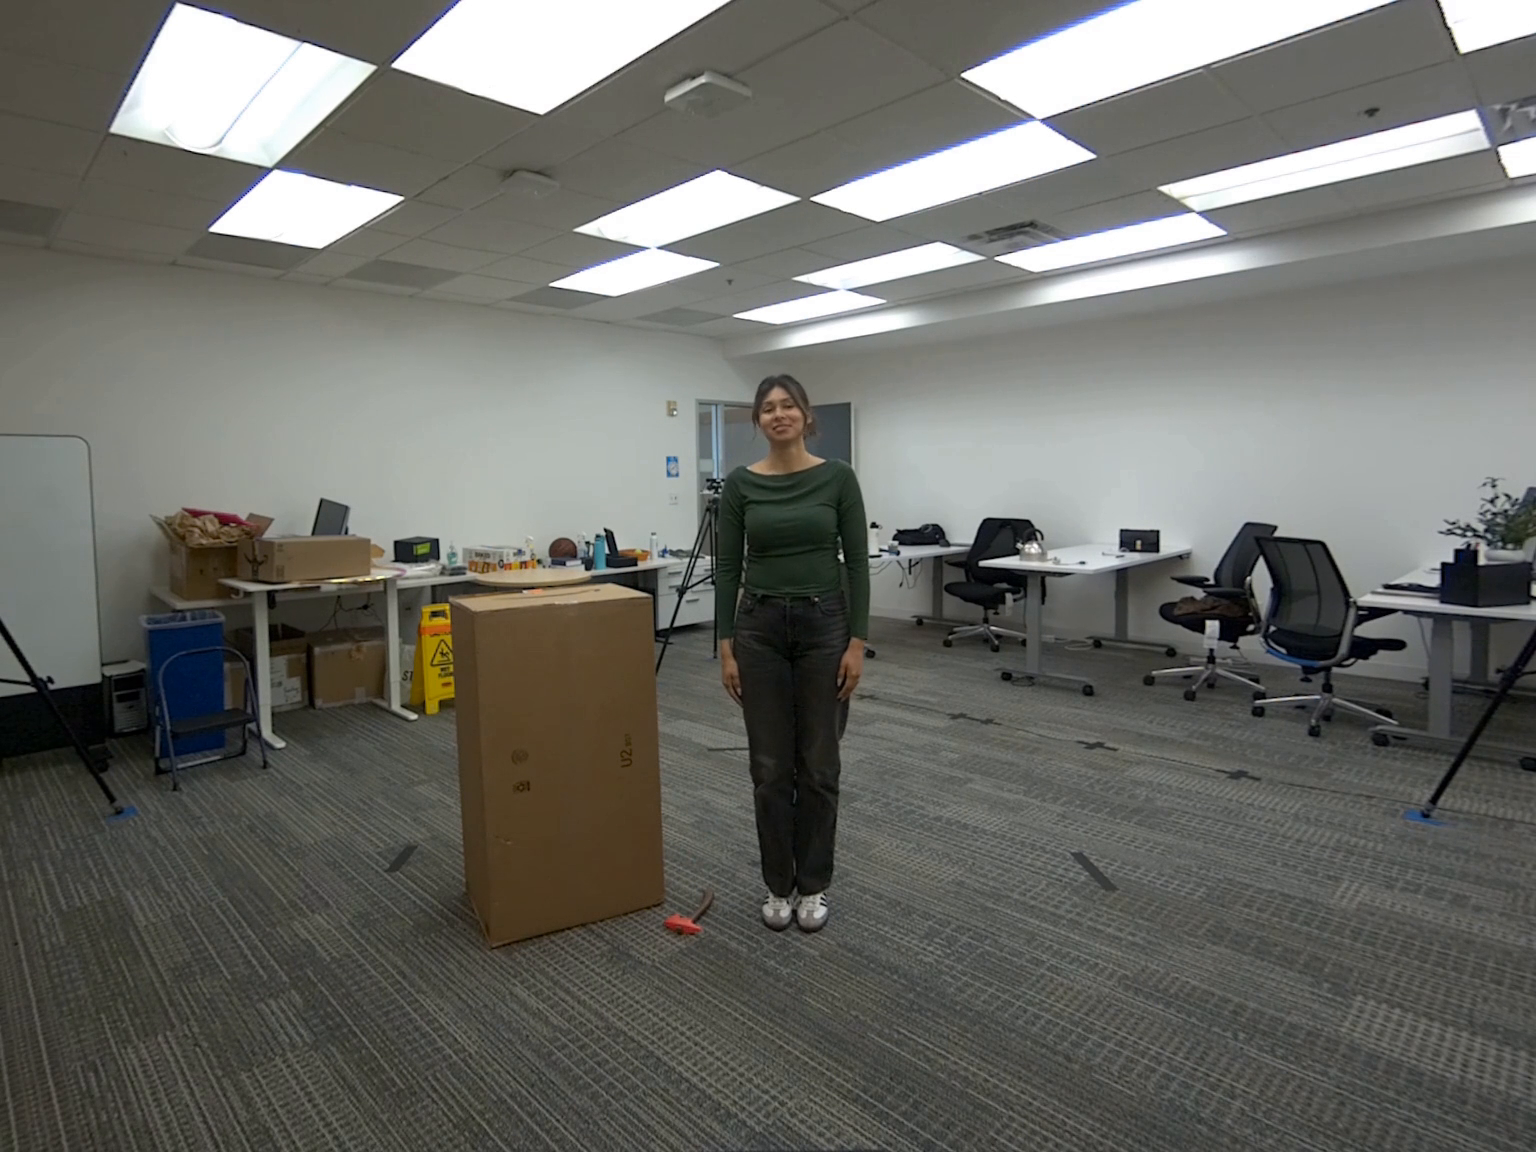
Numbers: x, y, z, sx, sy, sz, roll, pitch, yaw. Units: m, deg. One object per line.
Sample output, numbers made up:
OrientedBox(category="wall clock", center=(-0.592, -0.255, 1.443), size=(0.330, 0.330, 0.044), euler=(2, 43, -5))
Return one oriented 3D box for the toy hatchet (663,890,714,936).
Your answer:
OrientedBox(category="toy hatchet", center=(-0.254, 1.076, 2.750), size=(0.132, 0.029, 0.269), euler=(-3, 4, 5))
